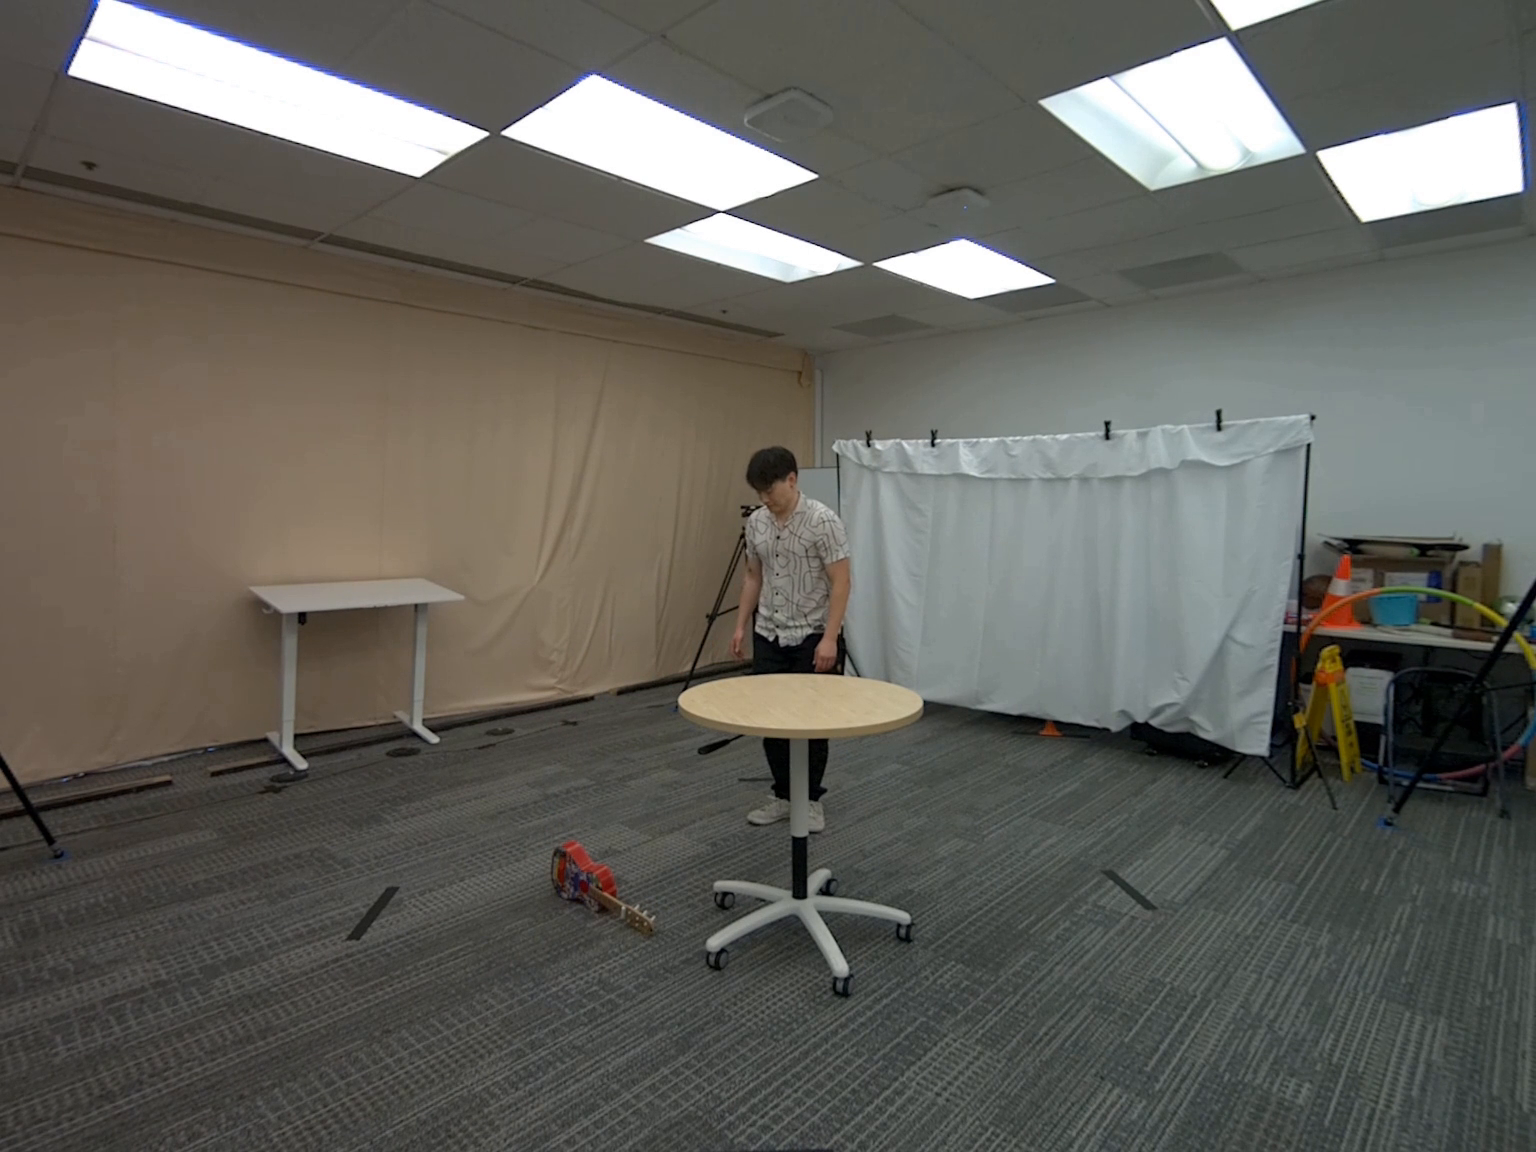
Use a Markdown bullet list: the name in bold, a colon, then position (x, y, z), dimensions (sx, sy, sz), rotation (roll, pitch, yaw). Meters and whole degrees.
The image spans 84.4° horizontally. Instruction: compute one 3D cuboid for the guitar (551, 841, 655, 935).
- **guitar**: position (-0.567, 1.108, 2.901), dimensions (0.515, 0.192, 0.069), rotation (24, 20, 33)
